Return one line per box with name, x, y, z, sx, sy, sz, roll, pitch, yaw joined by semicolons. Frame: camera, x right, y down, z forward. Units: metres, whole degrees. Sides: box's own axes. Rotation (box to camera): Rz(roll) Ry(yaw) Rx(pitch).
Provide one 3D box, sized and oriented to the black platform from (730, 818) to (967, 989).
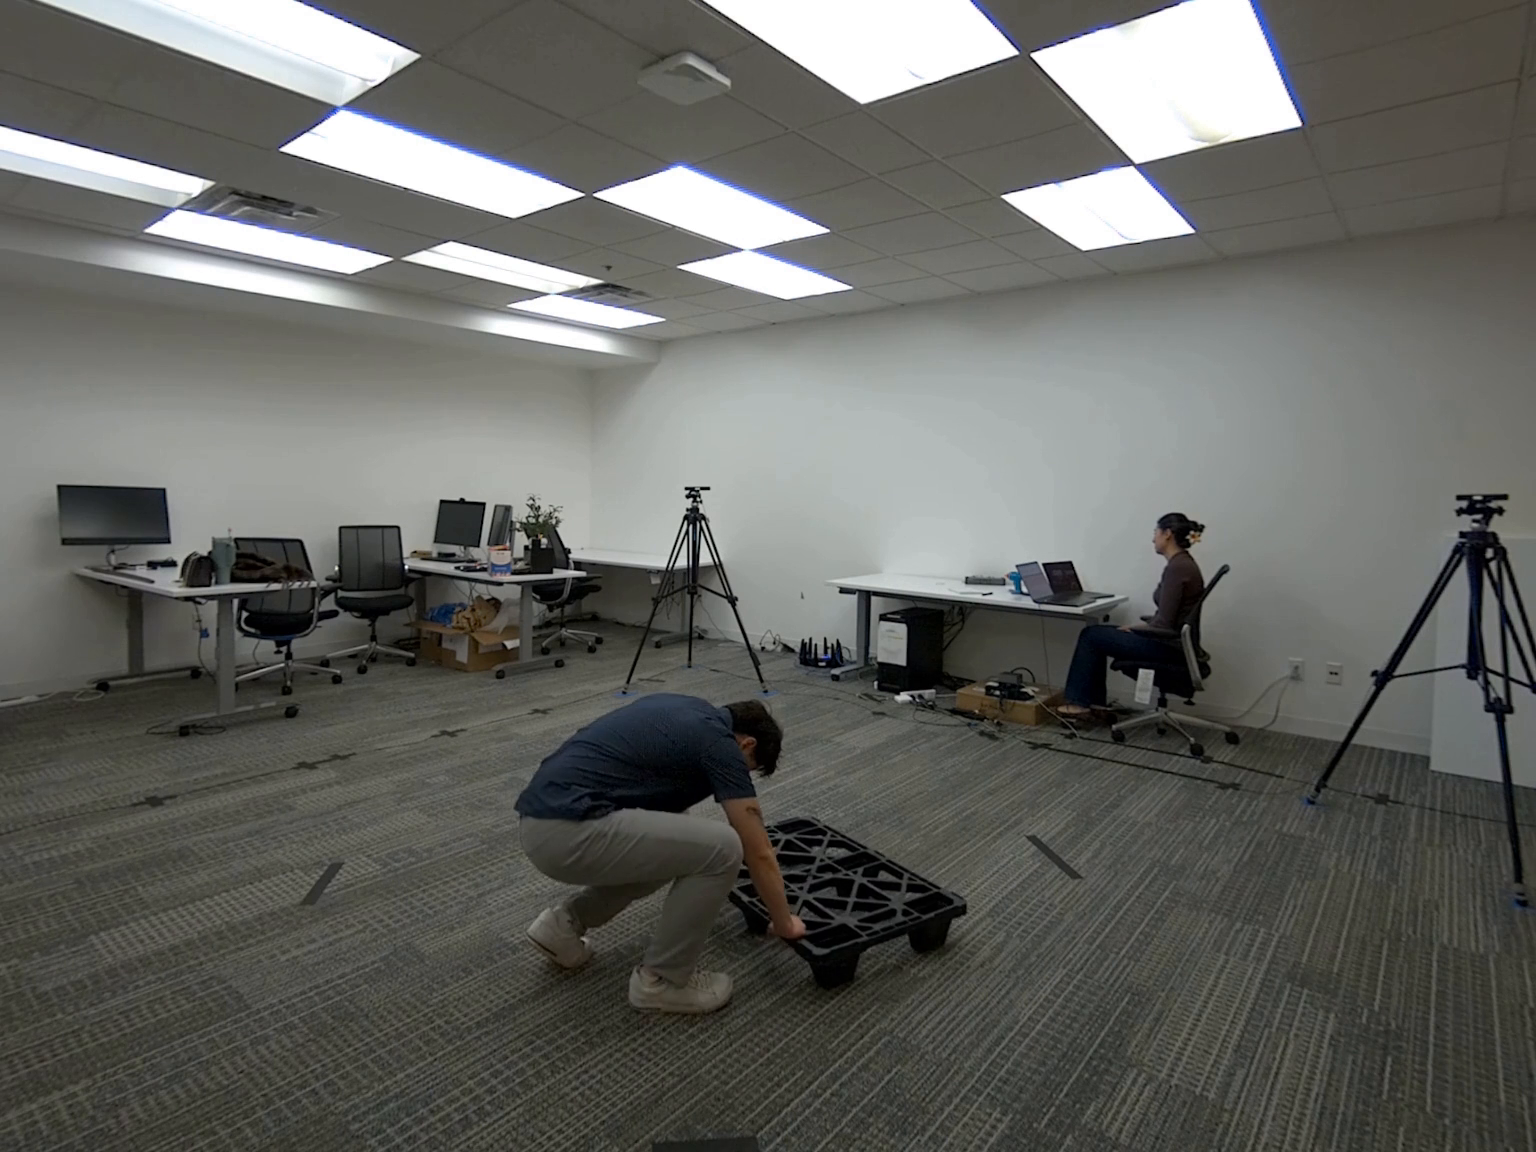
black platform;0.139;1.035;2.801;0.588;0.143;0.832;-2;7;-34
